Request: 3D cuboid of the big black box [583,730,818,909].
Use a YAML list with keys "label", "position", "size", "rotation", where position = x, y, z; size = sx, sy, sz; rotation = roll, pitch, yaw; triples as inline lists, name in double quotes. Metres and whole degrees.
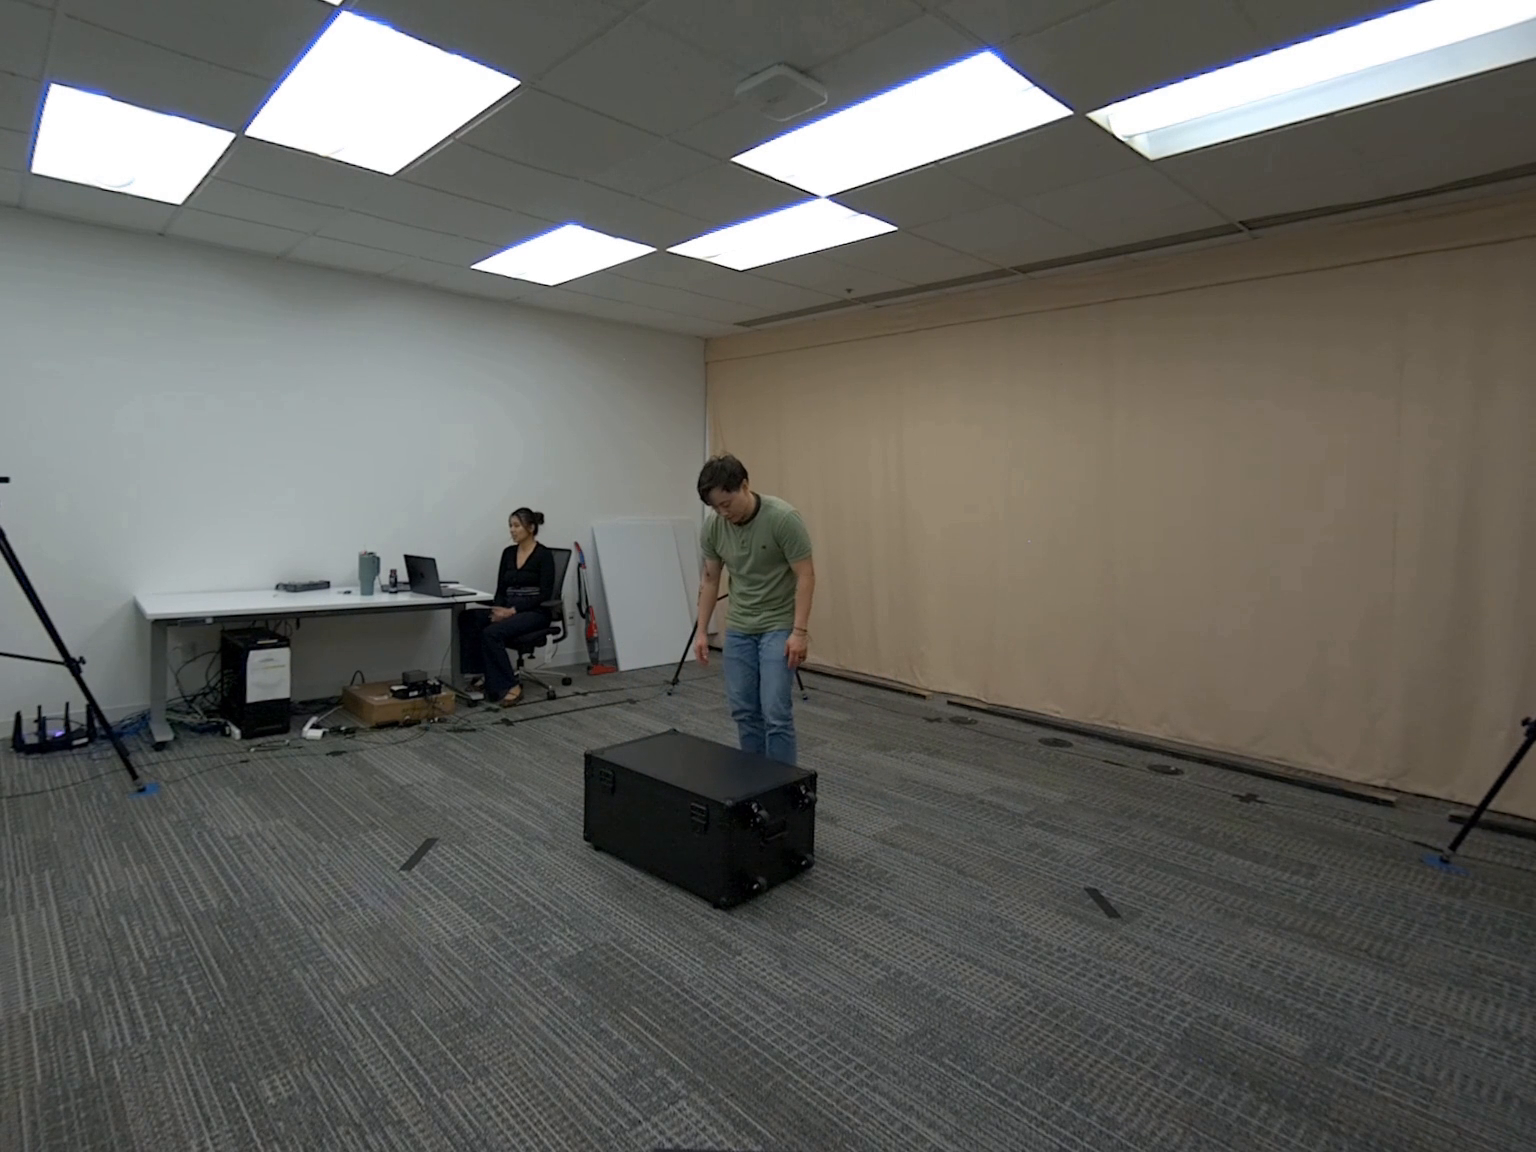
- label: "big black box"
  position: [-0.256, 0.900, 3.201]
  size: [0.883, 0.395, 0.509]
  rotation: [5, 6, 41]
